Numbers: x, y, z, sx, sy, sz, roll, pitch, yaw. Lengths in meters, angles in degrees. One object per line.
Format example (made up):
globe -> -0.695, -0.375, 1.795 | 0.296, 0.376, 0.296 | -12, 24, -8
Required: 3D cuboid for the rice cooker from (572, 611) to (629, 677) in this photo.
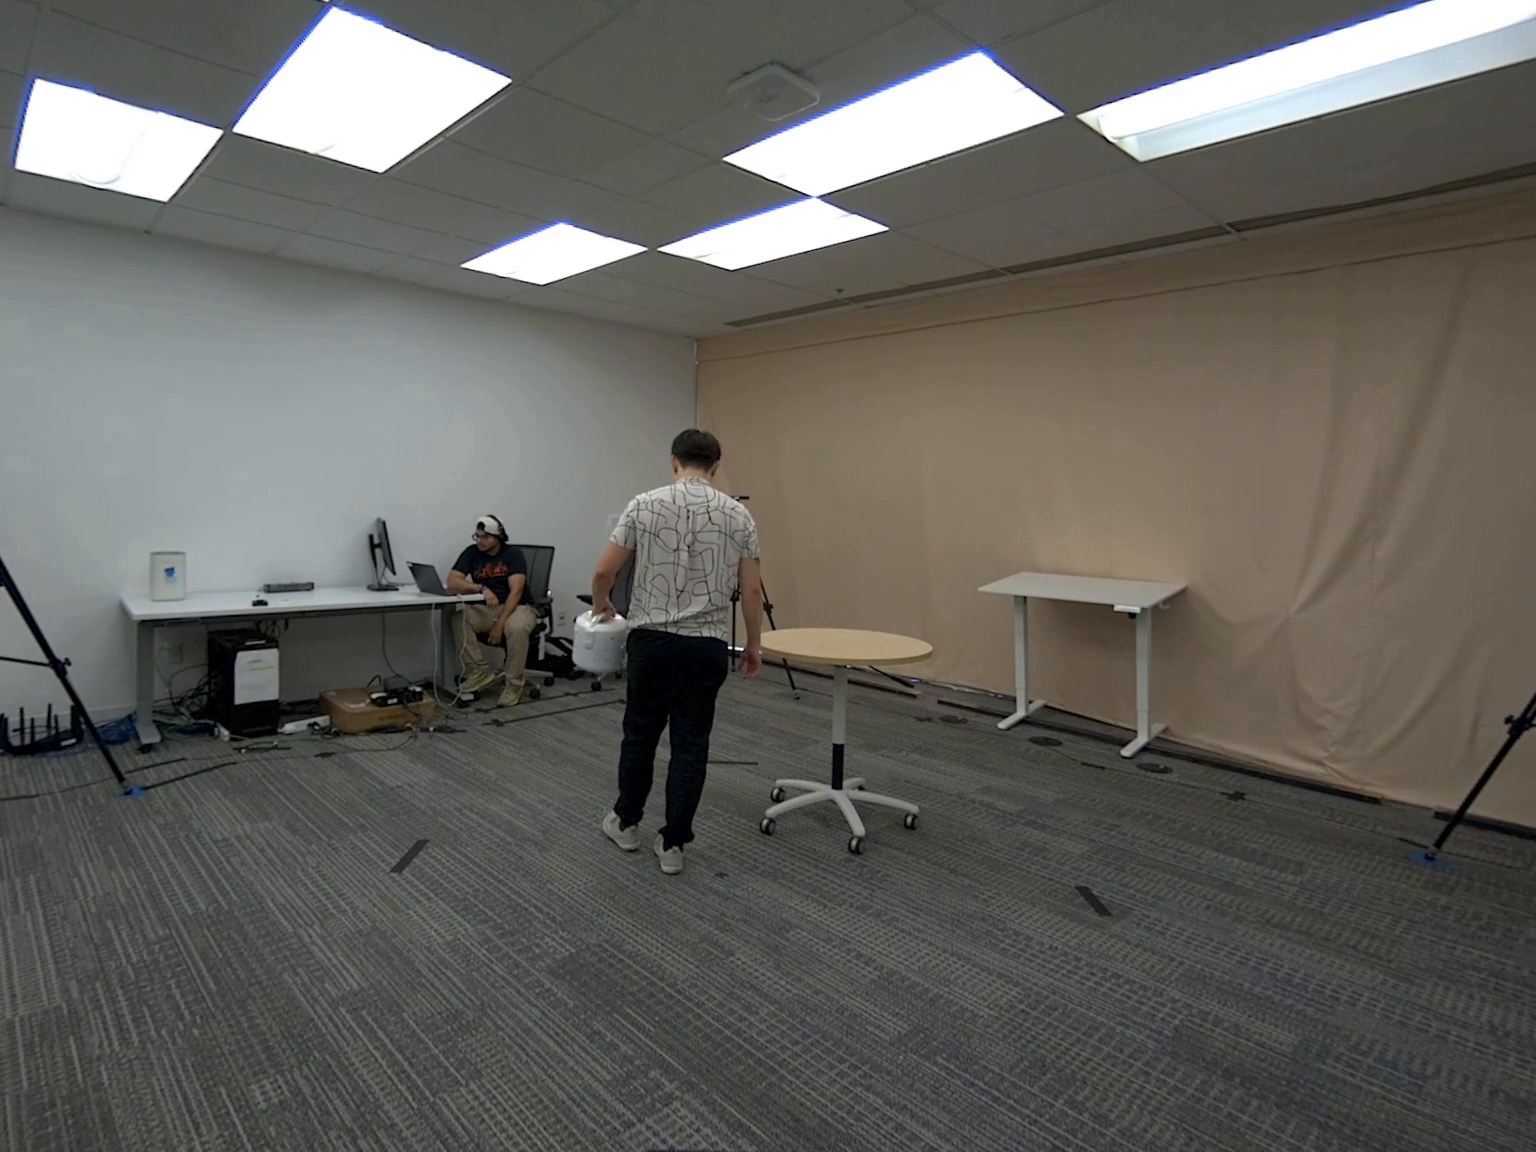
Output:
rice cooker -> -0.665, 0.249, 3.351 | 0.220, 0.230, 0.219 | 13, 18, 15
